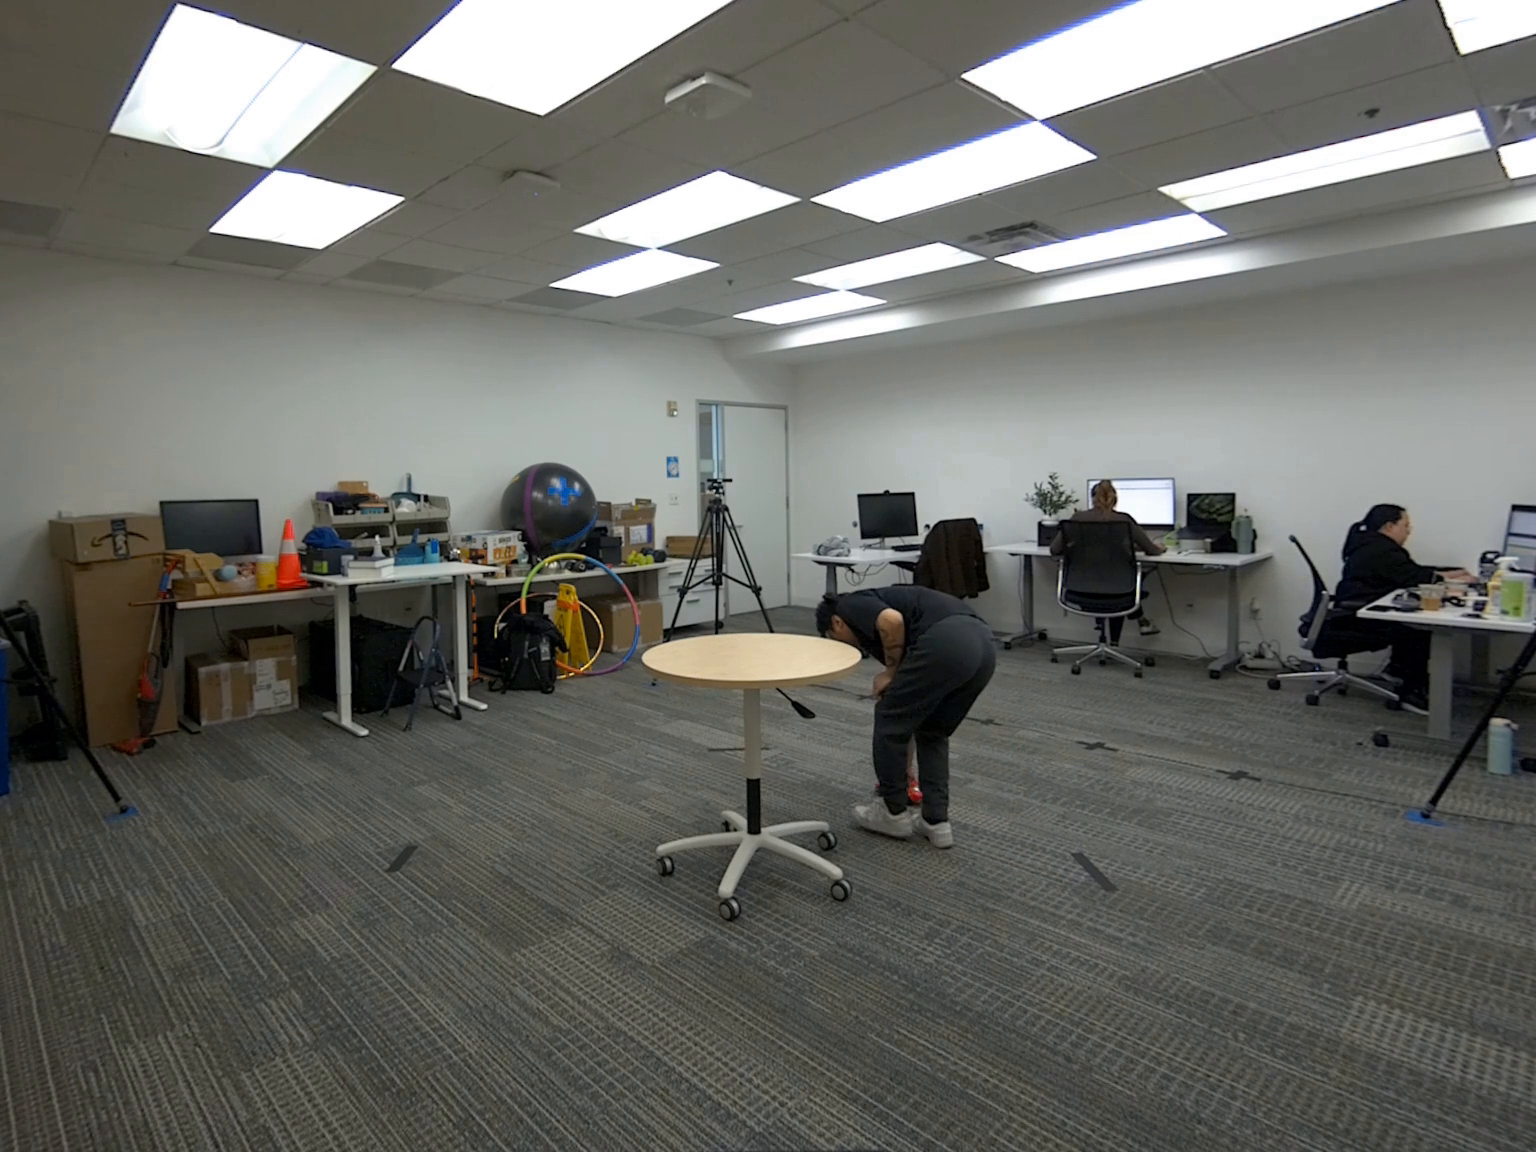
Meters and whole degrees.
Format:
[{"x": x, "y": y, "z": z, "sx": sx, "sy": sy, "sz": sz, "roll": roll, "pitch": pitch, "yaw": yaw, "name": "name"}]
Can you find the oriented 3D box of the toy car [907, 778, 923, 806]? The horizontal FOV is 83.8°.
[{"x": 0.601, "y": 0.940, "z": 3.715, "sx": 0.127, "sy": 0.083, "sz": 0.260, "roll": -3, "pitch": -4, "yaw": -41, "name": "toy car"}]
